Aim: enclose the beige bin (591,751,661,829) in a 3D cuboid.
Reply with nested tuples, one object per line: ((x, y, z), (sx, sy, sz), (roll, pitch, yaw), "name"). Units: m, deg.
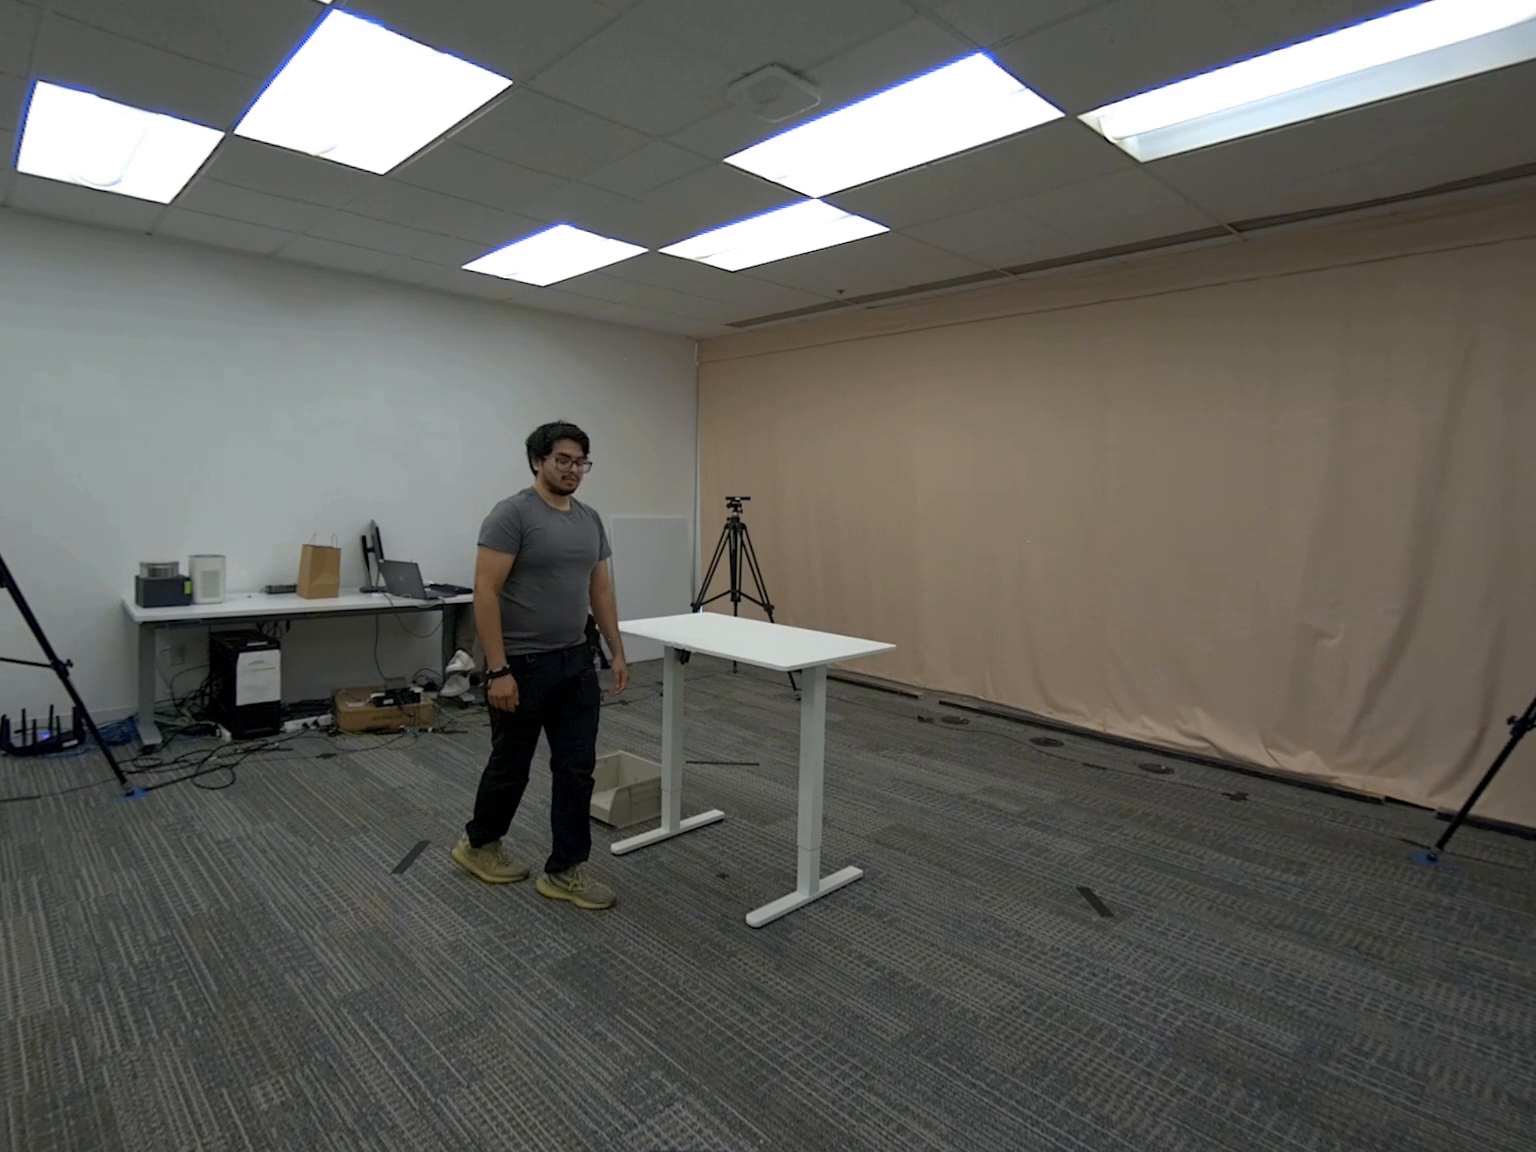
((-0.691, 0.949, 3.758), (0.433, 0.188, 0.368), (6, 5, 43), "beige bin")
